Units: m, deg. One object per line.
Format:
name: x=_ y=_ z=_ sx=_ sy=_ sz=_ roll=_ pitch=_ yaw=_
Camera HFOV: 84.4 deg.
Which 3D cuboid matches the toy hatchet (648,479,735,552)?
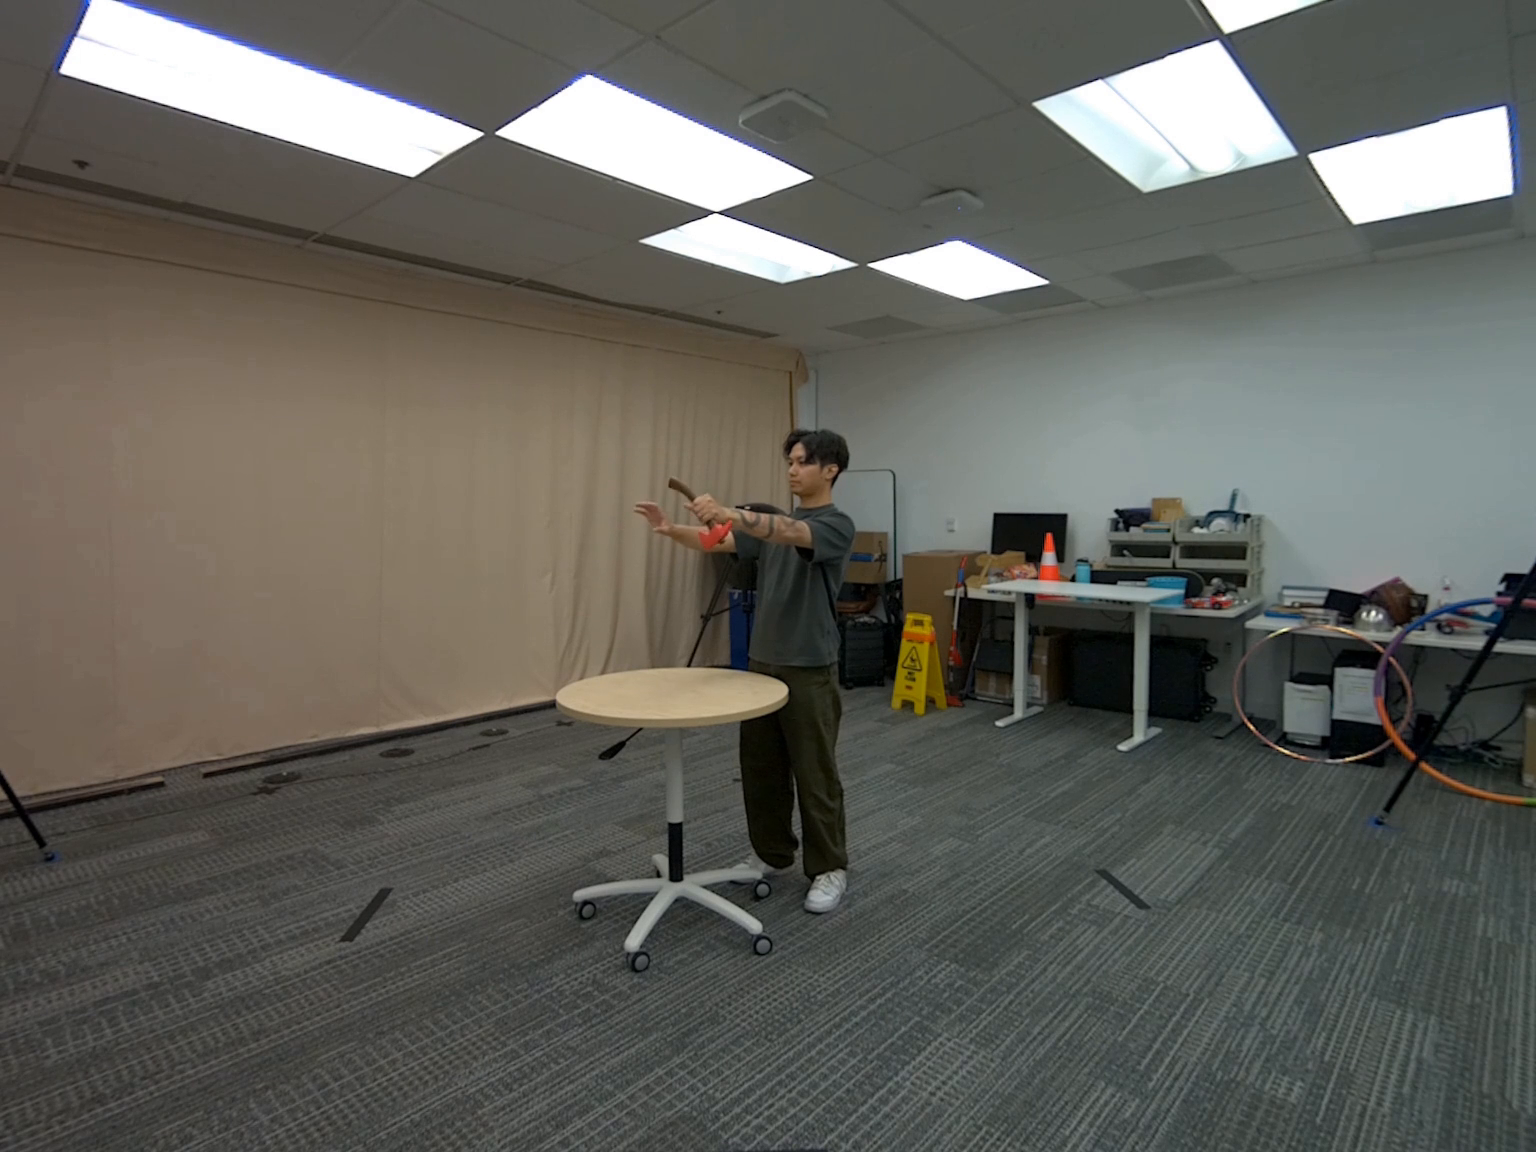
toy hatchet: x=-0.222 y=-0.188 z=2.604 sx=0.278 sy=0.131 sz=0.029 roll=40 pitch=31 yaw=26
